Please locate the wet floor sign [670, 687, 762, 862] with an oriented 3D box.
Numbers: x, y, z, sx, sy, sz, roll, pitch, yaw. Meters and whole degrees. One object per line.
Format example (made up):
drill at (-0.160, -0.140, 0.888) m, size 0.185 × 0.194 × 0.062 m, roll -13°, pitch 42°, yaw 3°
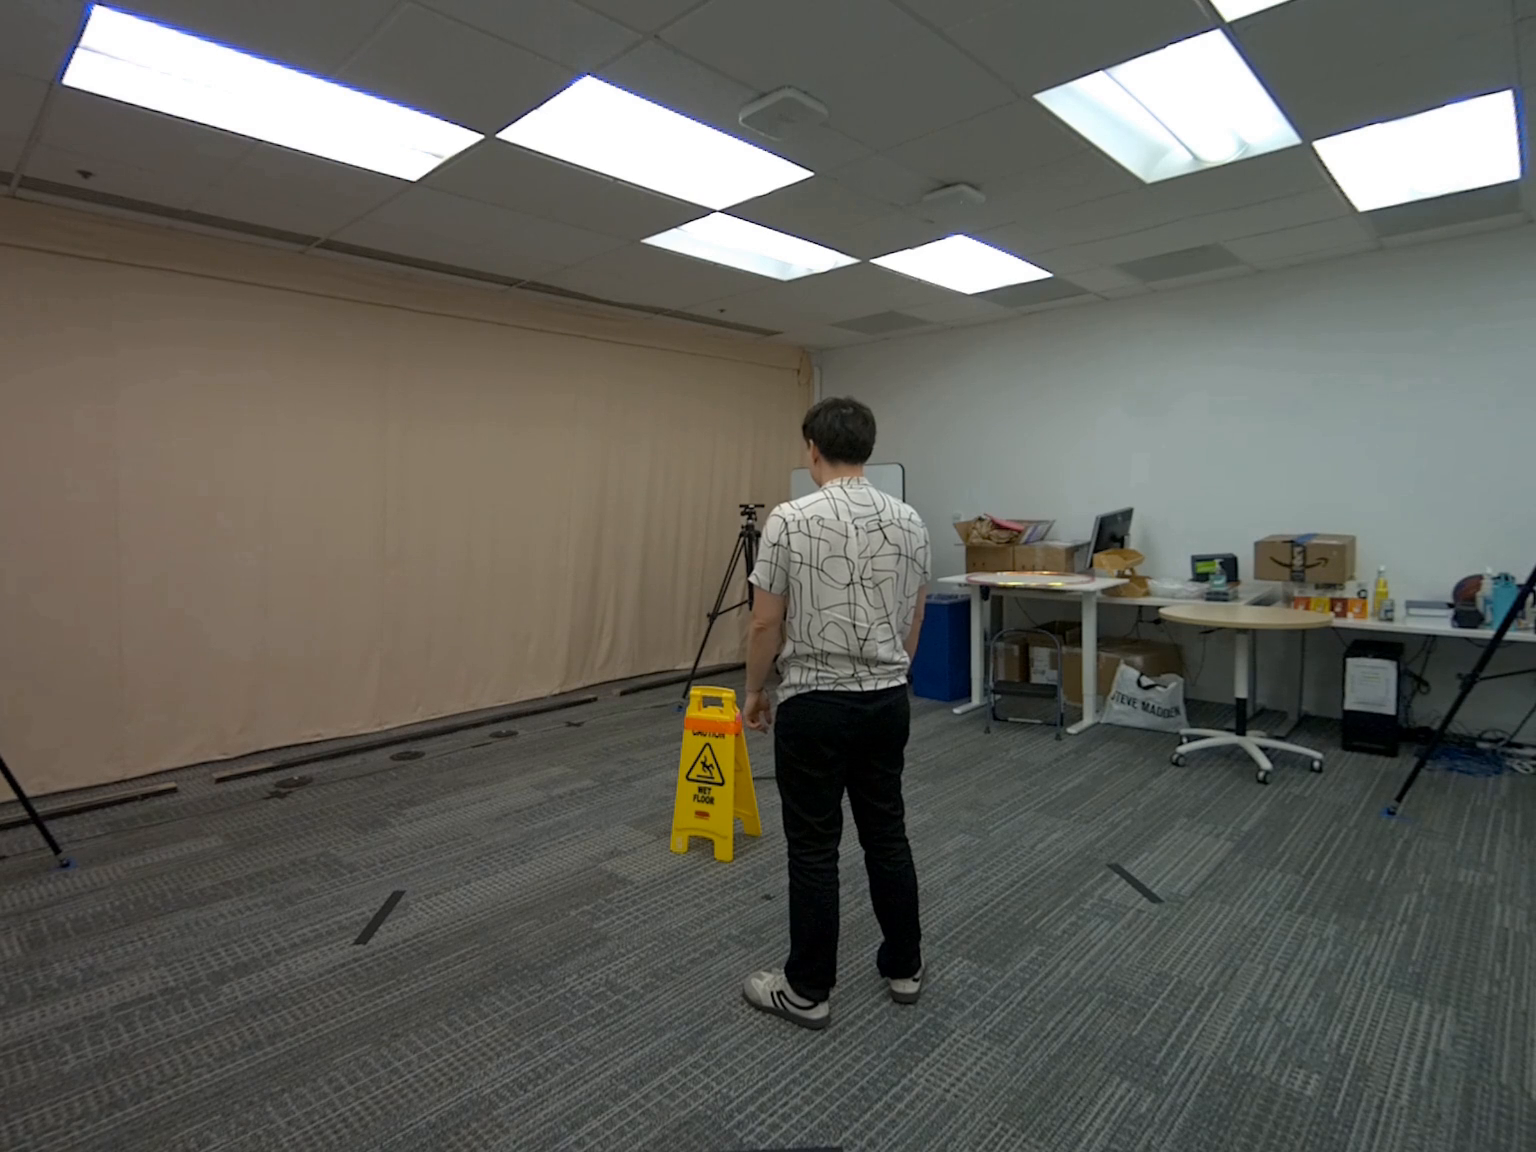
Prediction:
wet floor sign at (-0.219, 0.779, 3.455) m, size 0.289 × 0.644 × 0.283 m, roll -1°, pitch 4°, yaw 26°
